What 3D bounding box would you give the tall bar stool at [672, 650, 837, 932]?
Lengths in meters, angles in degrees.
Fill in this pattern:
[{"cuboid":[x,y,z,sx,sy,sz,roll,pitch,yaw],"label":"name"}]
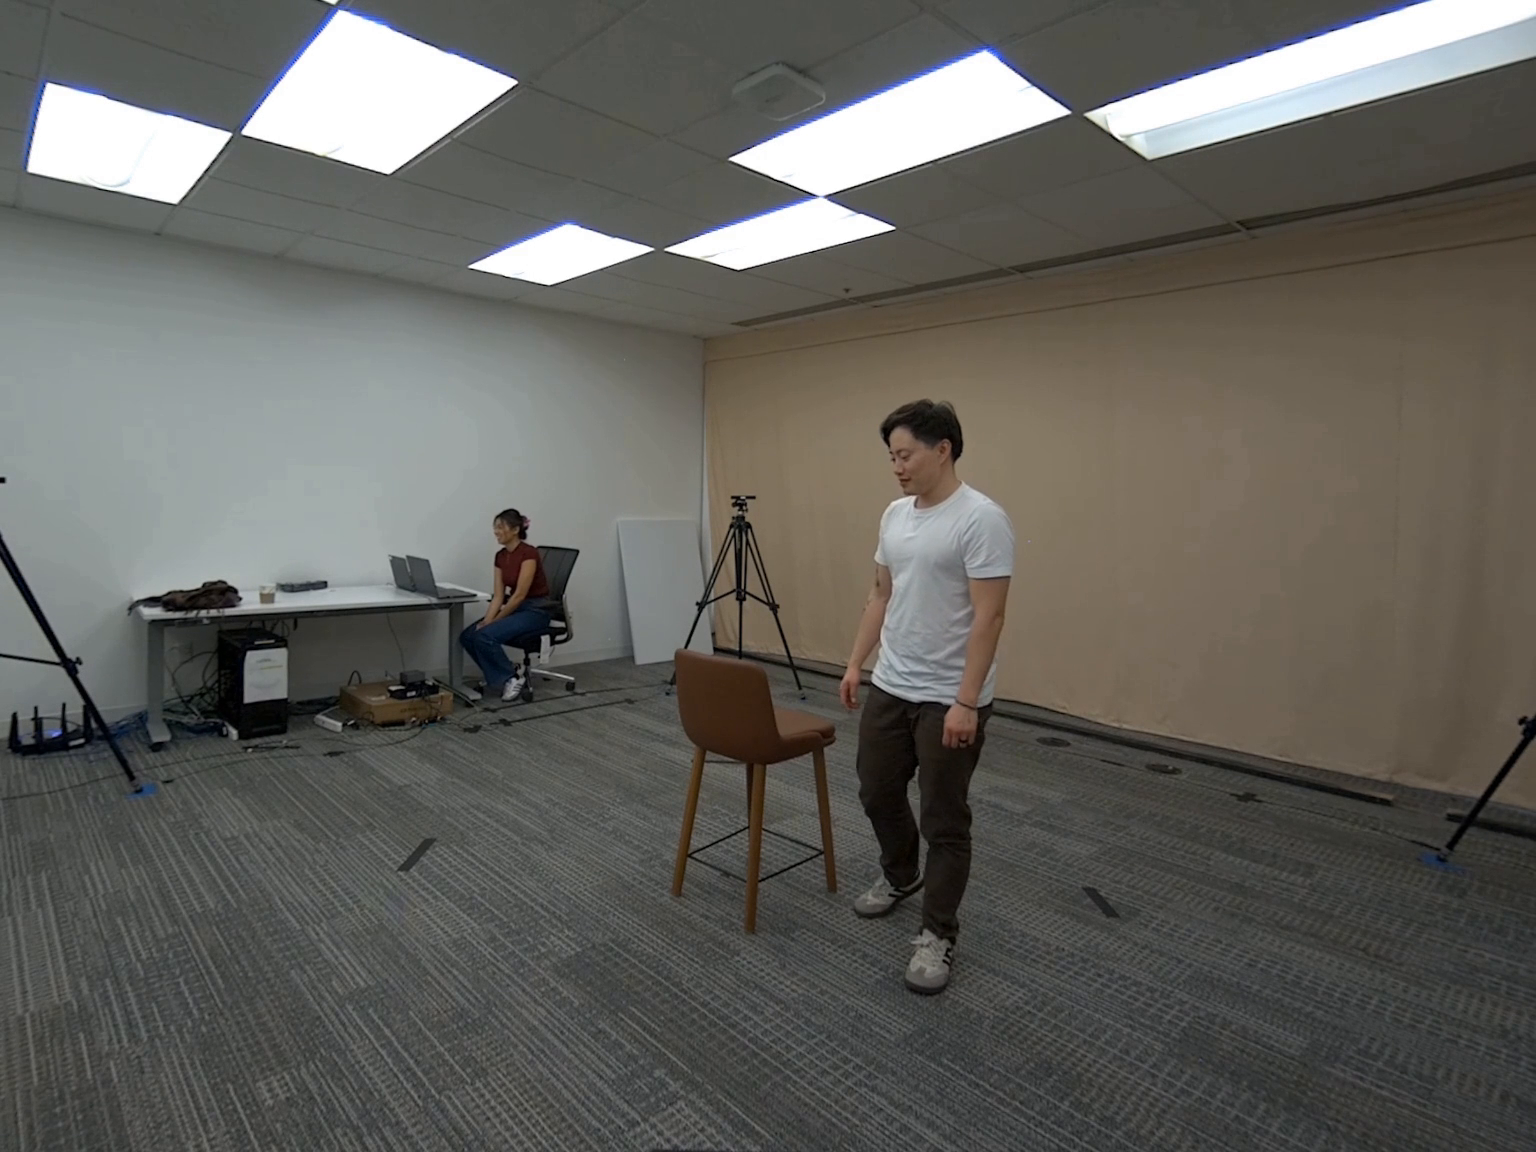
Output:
[{"cuboid":[-0.052,0.682,2.943,0.468,0.887,0.457,4,6,42],"label":"tall bar stool"}]
